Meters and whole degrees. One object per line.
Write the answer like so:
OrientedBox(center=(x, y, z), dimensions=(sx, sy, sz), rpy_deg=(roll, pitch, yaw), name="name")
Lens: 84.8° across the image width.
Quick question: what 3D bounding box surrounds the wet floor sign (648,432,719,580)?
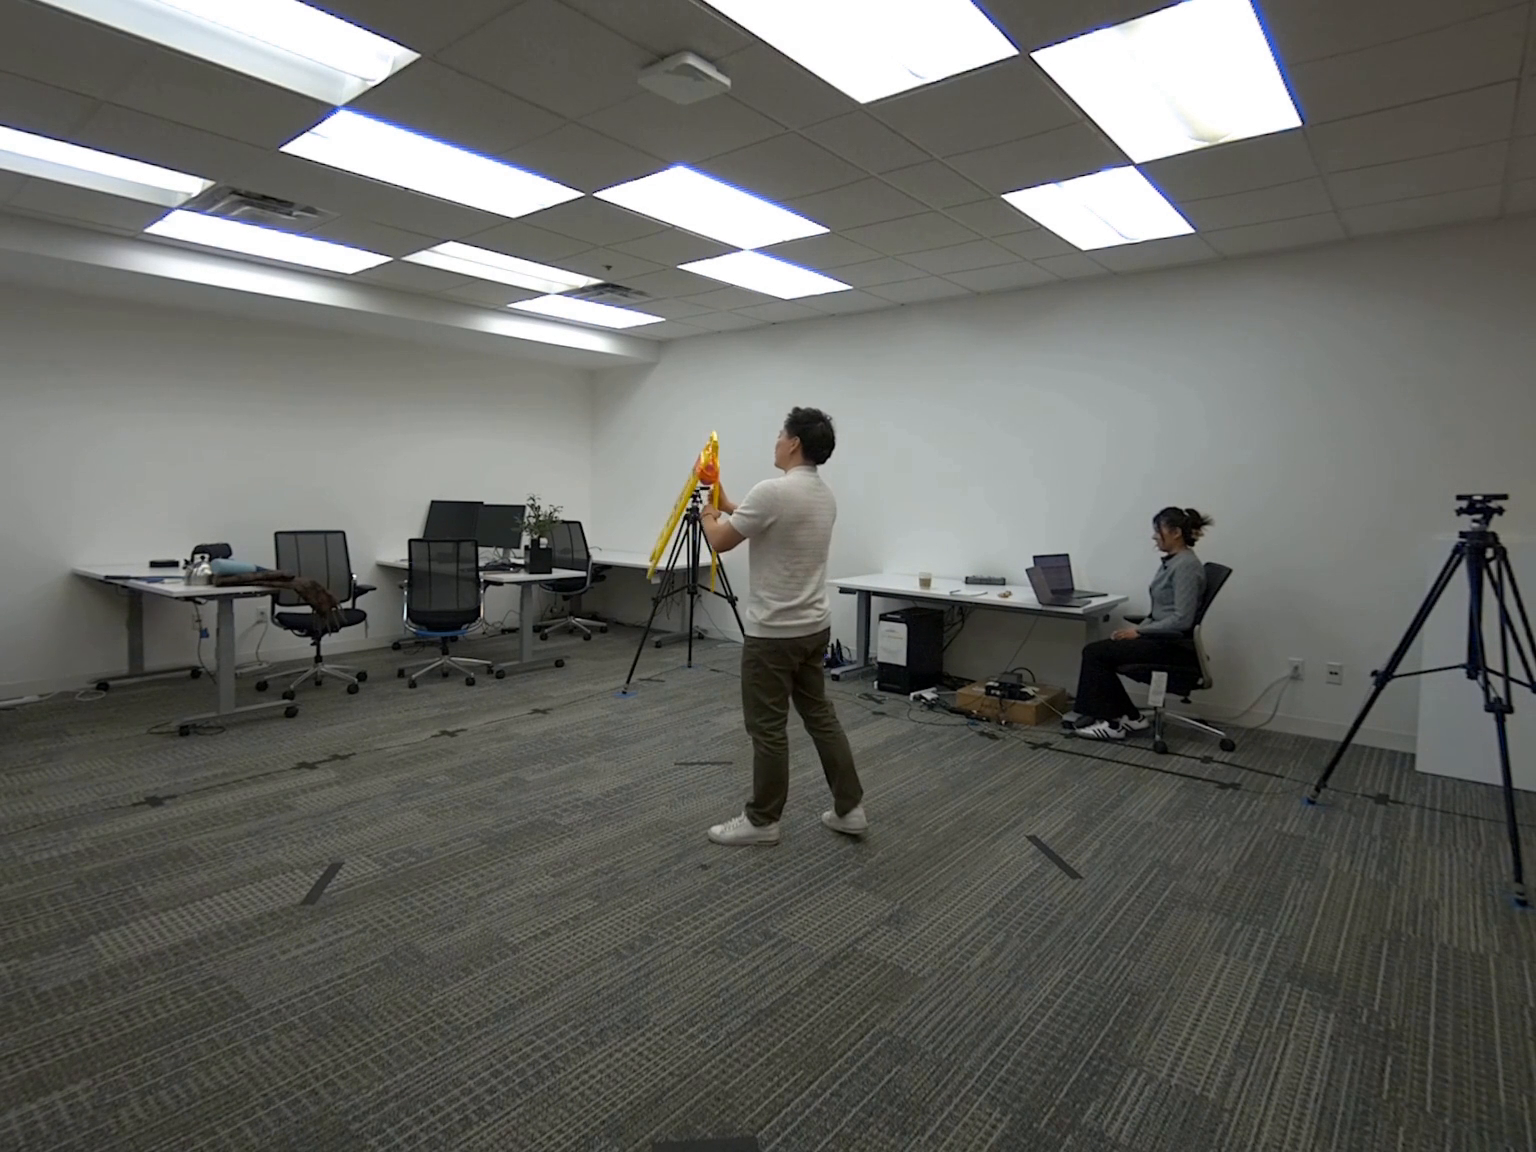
OrientedBox(center=(-0.317, -0.301, 3.641), dimensions=(0.287, 0.638, 0.288), rpy_deg=(12, 19, -8), name="wet floor sign")
